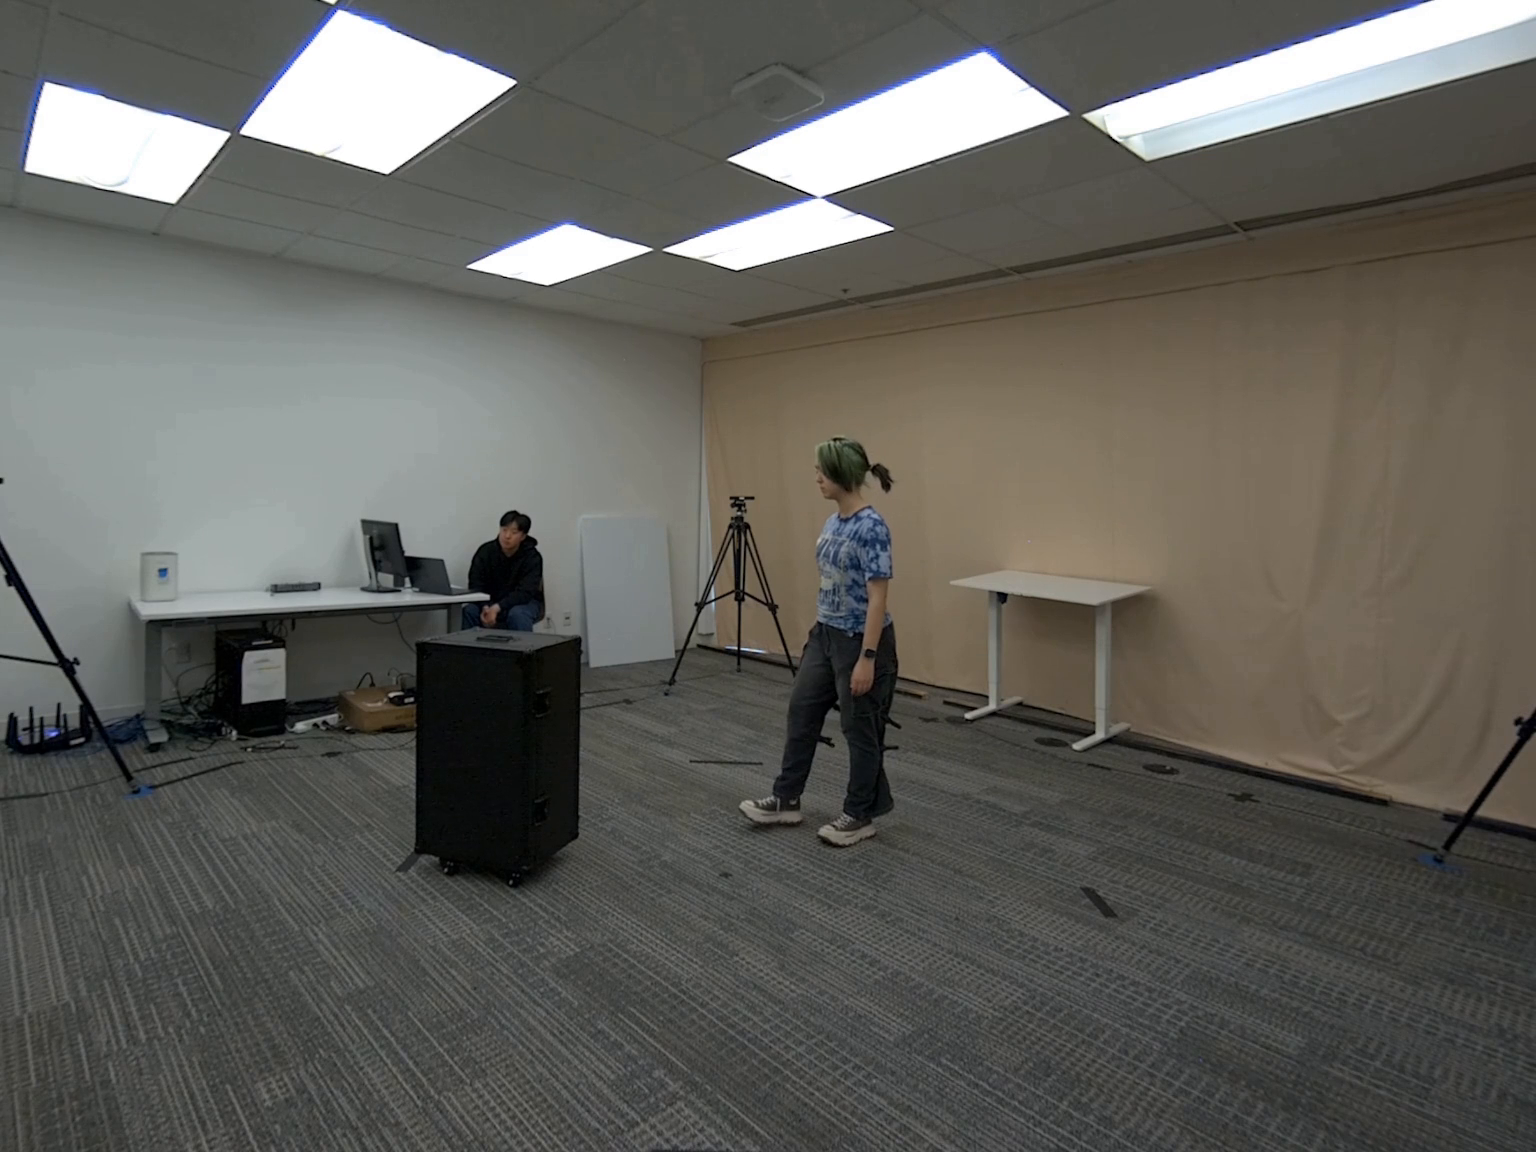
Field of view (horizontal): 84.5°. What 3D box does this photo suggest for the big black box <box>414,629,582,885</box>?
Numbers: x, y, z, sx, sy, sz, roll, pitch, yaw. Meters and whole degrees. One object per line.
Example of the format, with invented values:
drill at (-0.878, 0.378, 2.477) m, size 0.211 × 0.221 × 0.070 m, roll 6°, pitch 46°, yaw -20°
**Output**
big black box at (-1.009, 0.654, 3.149) m, size 0.529 × 0.860 × 0.391 m, roll 2°, pitch 3°, yaw 19°
